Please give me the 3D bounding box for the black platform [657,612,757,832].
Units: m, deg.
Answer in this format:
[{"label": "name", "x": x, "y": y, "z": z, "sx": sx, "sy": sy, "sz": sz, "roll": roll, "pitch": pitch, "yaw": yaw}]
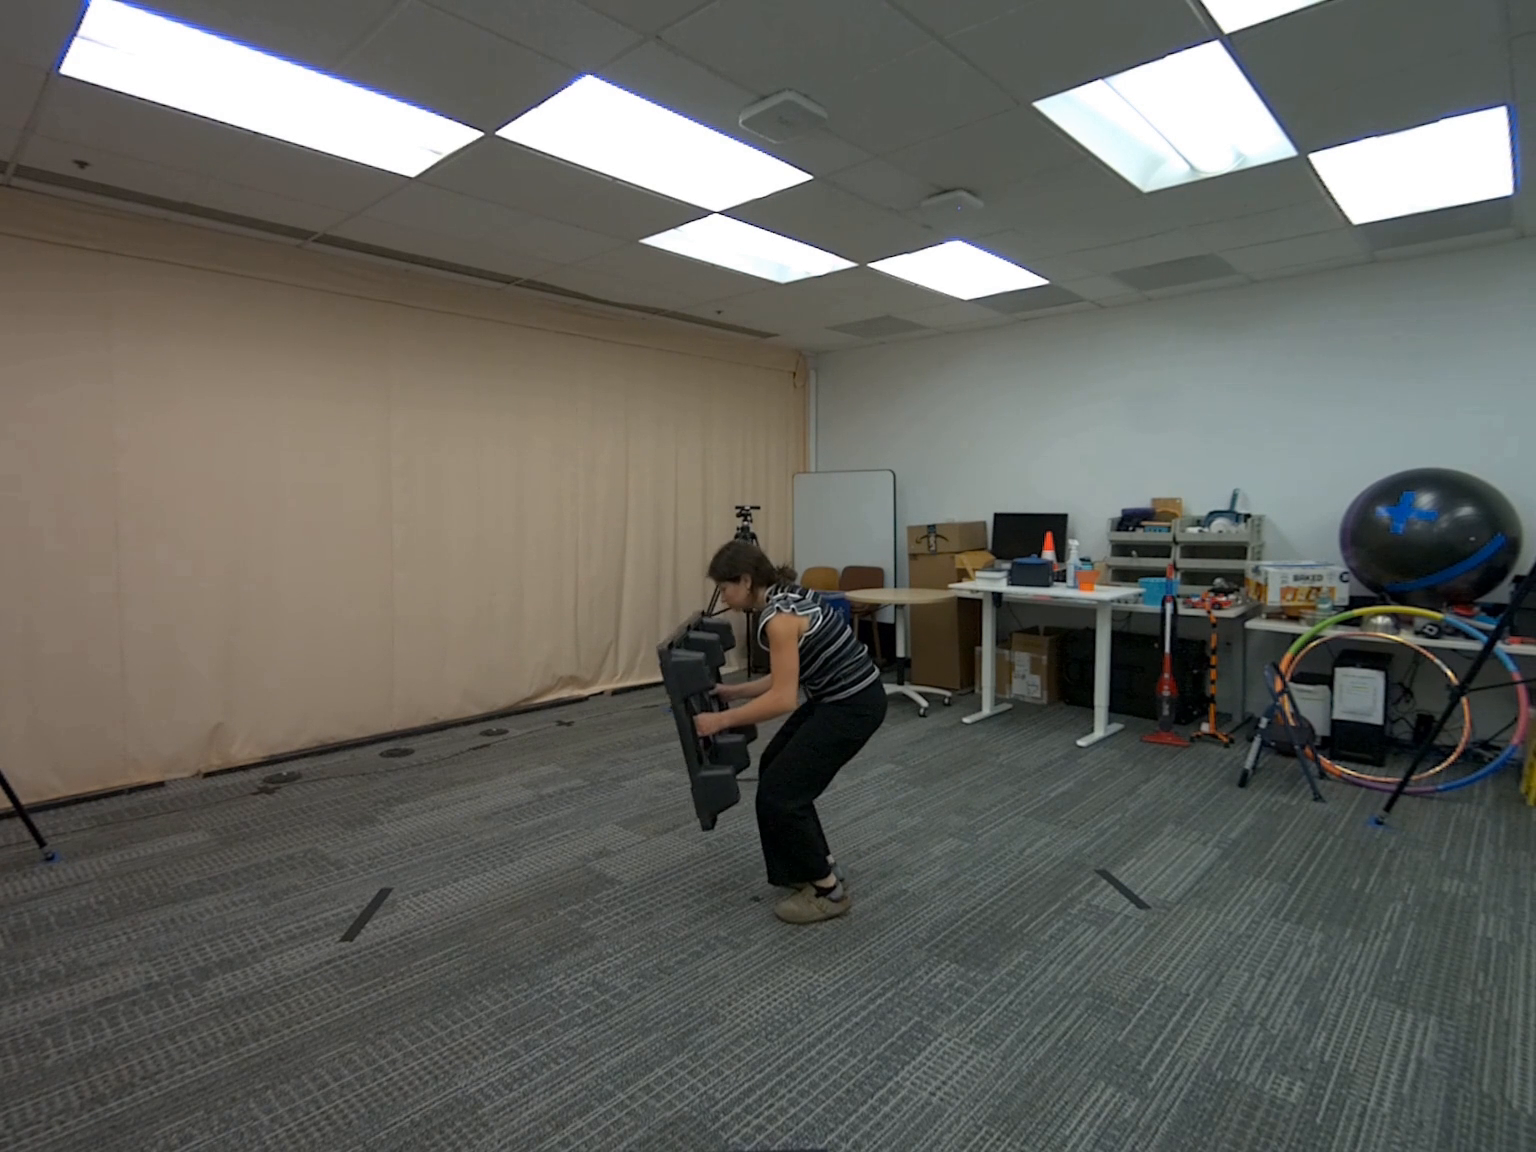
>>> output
[{"label": "black platform", "x": -0.185, "y": 0.454, "z": 2.988, "sx": 0.144, "sy": 0.604, "sz": 0.803, "roll": -13, "pitch": 4, "yaw": 5}]
